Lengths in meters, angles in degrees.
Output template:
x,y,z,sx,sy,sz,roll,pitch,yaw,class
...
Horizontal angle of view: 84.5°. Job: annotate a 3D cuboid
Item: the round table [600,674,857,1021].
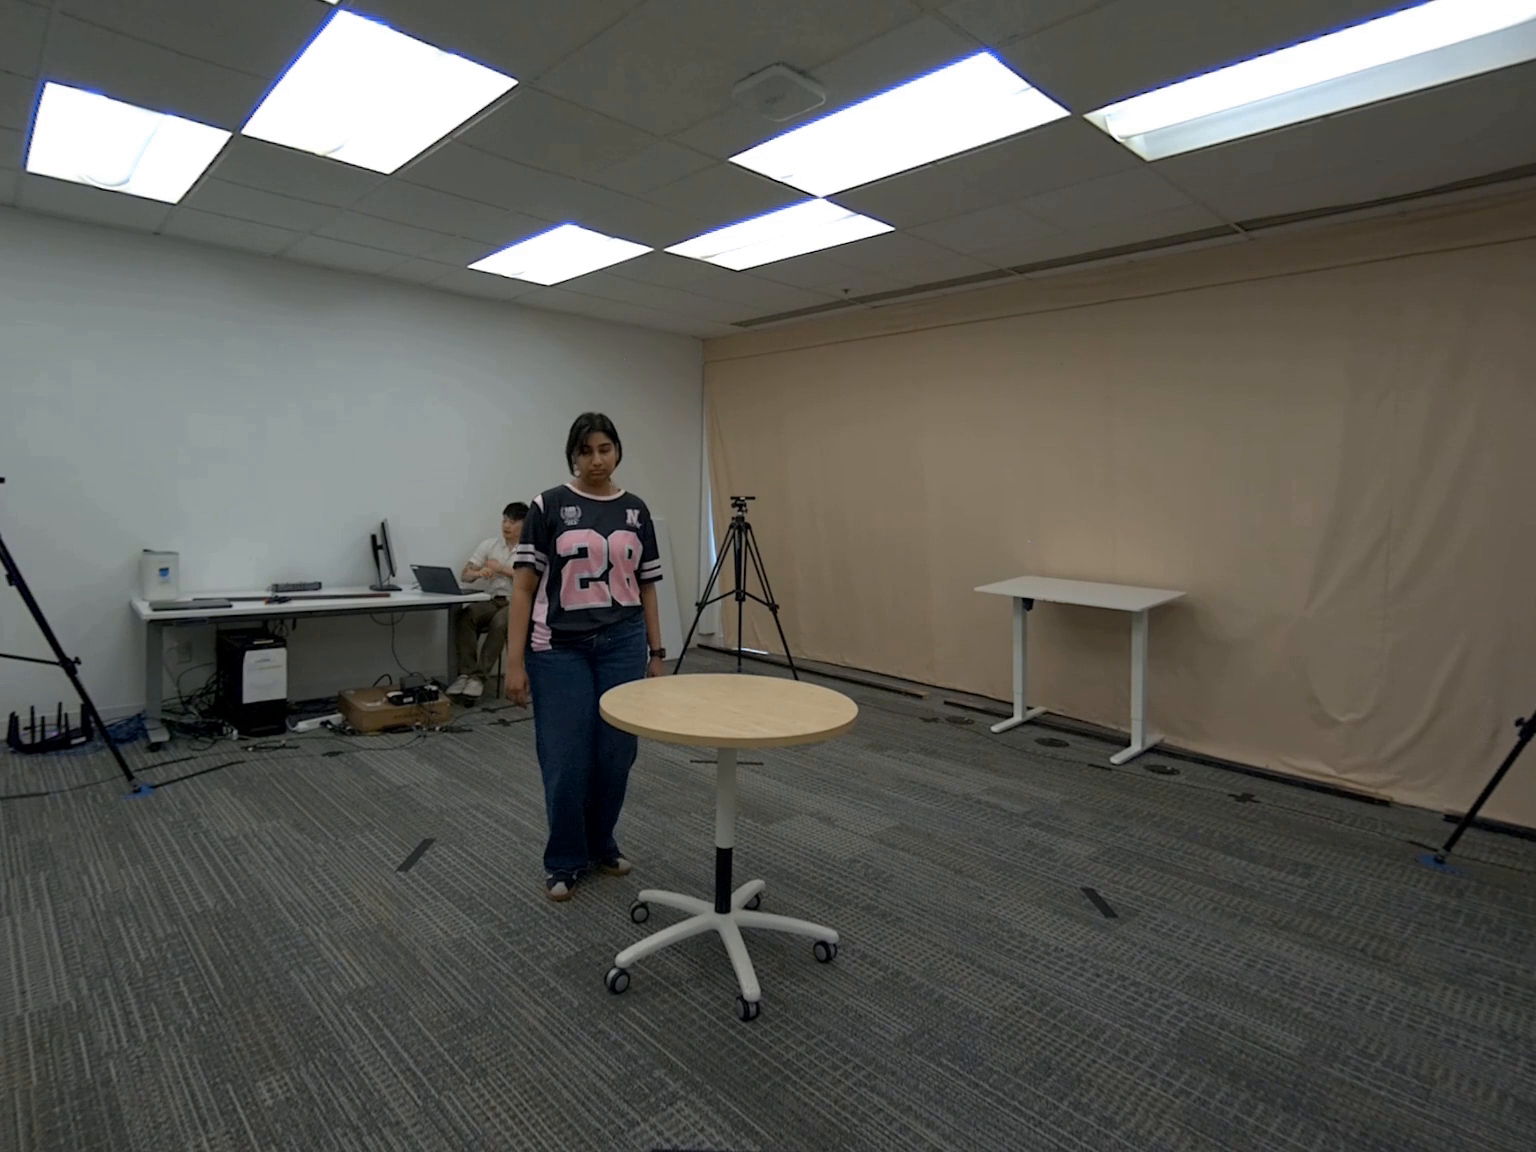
x,y,z,sx,sy,sz,roll,pitch,yaw,class
-0.142,0.769,2.535,0.763,0.791,0.767,1,5,-1,round table
